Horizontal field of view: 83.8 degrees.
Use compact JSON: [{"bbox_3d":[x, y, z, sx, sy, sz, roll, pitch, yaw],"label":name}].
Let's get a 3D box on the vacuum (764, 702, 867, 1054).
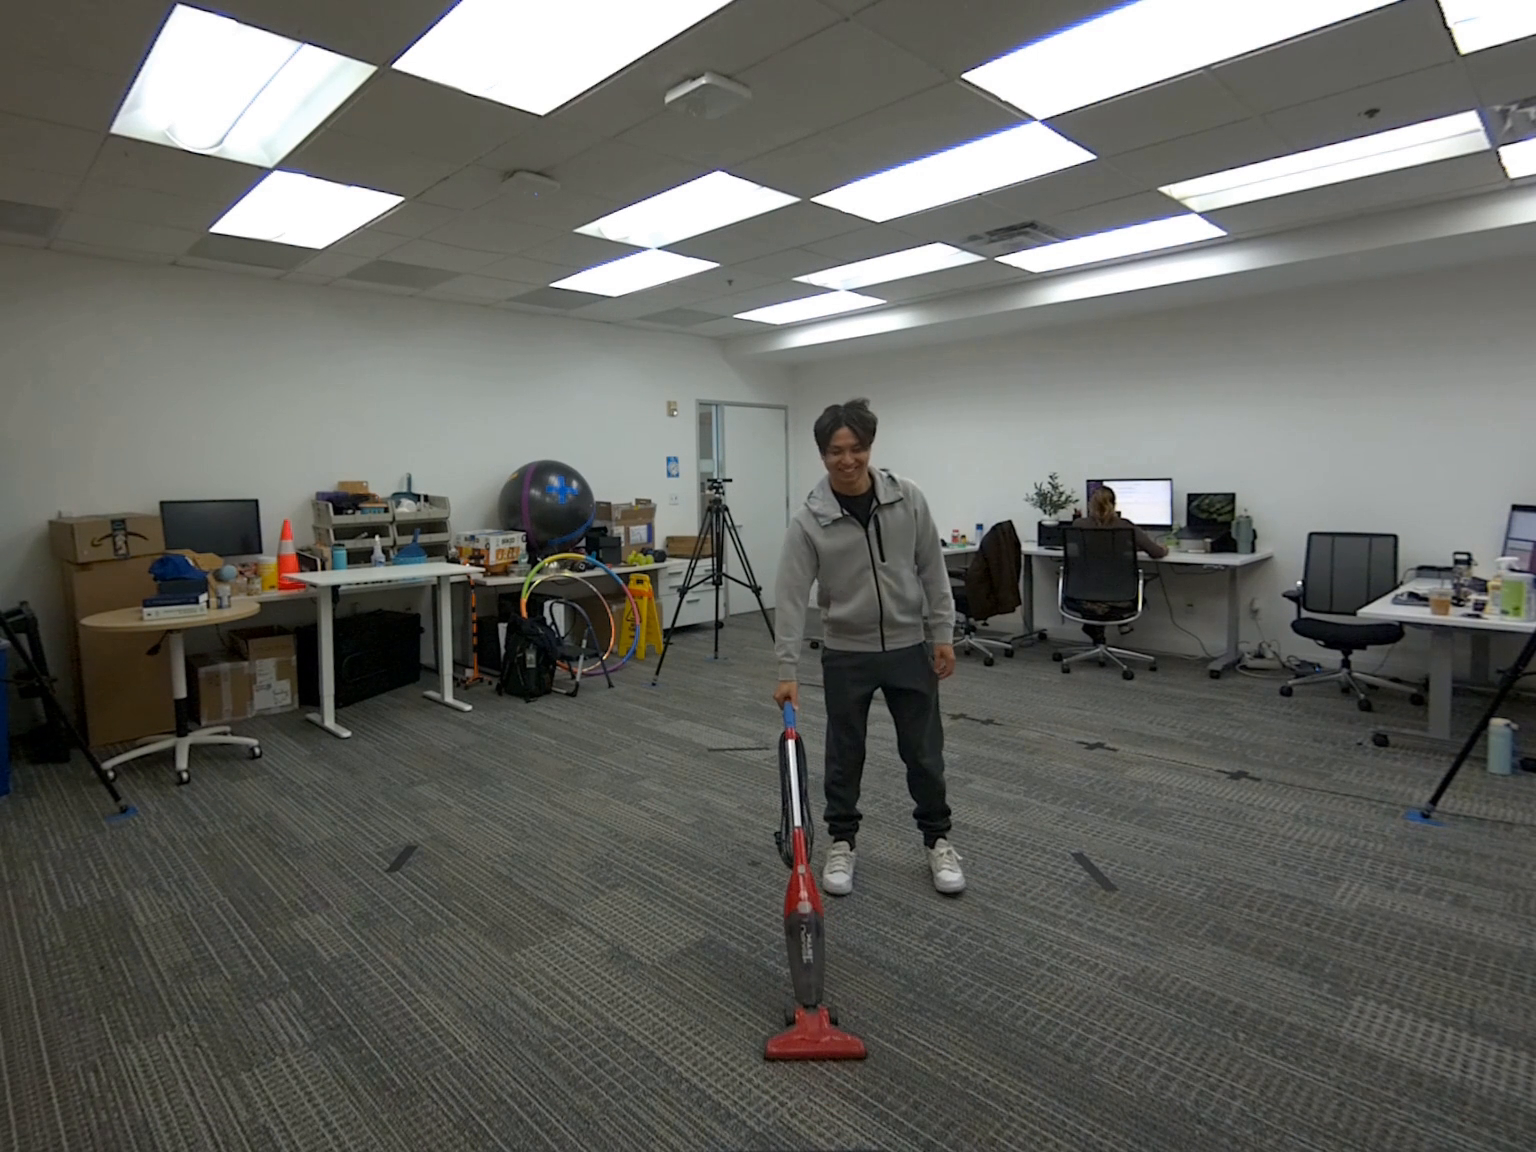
[{"bbox_3d":[0.098,0.761,2.512,0.253,0.140,1.079,-5,45,1],"label":"vacuum"}]
